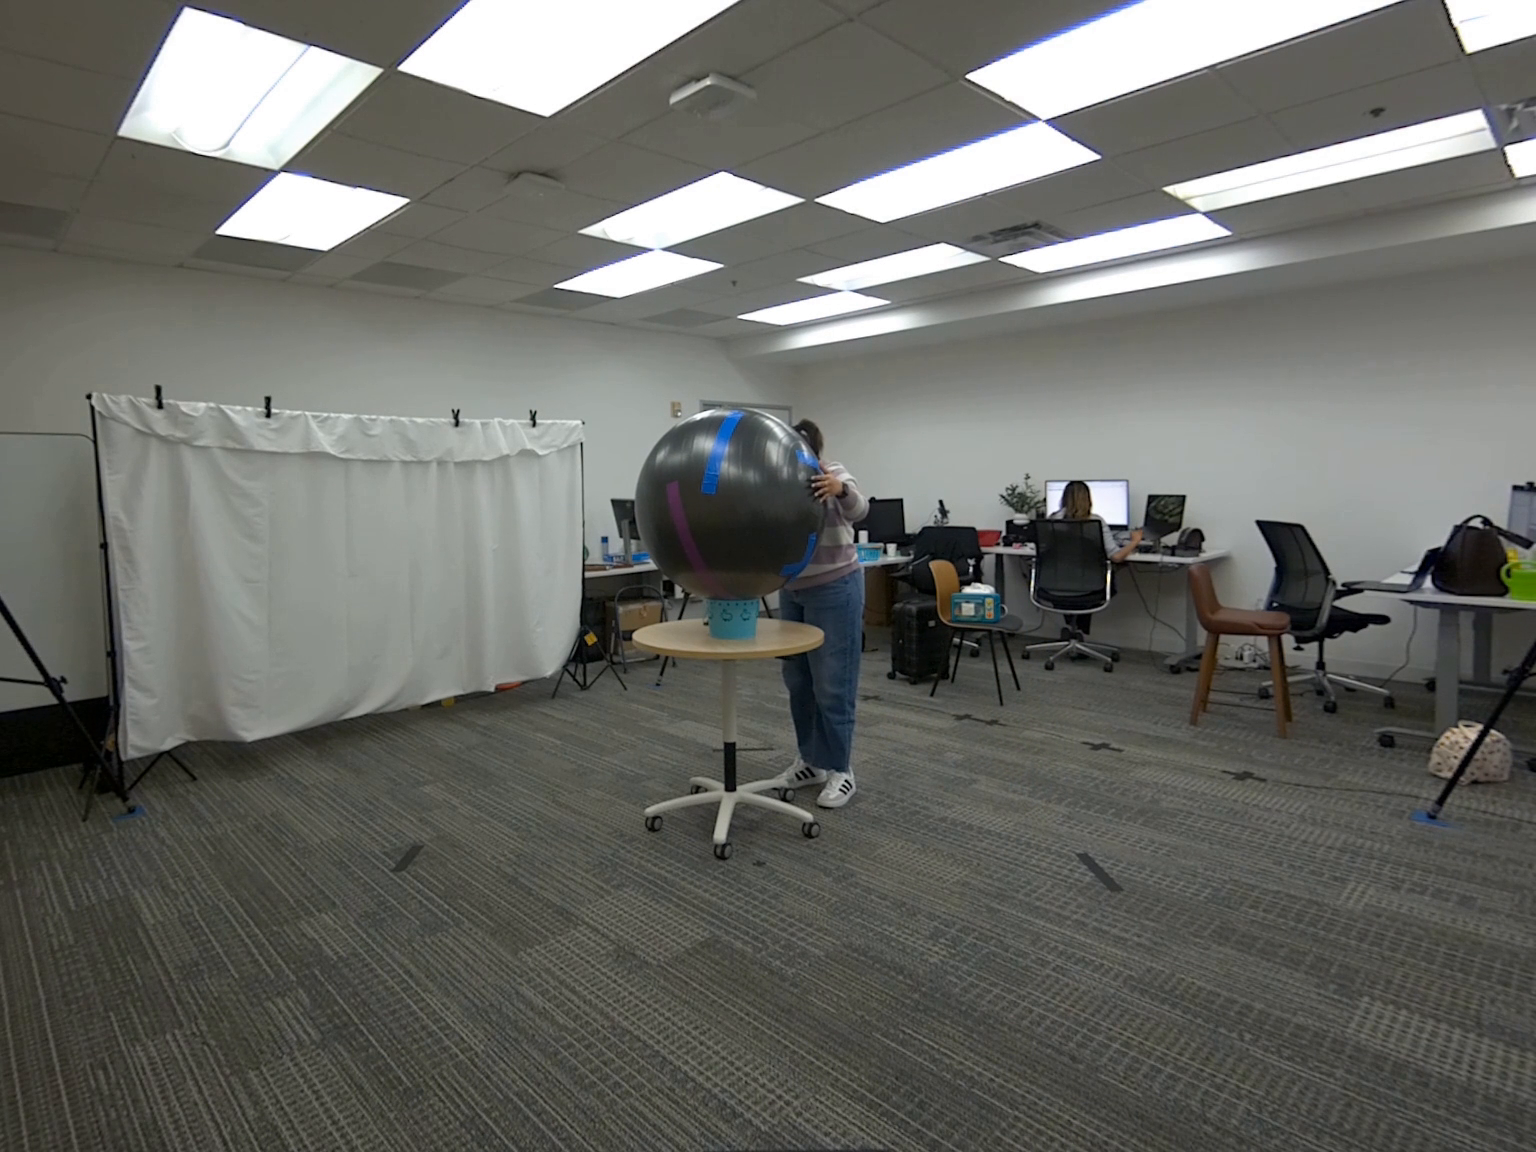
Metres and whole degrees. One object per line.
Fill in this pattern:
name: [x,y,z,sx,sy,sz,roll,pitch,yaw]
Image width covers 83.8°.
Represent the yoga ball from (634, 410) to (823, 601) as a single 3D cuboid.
yoga ball: [-0.154,-0.276,3.356,0.757,0.755,0.762,-1,5,-2]
